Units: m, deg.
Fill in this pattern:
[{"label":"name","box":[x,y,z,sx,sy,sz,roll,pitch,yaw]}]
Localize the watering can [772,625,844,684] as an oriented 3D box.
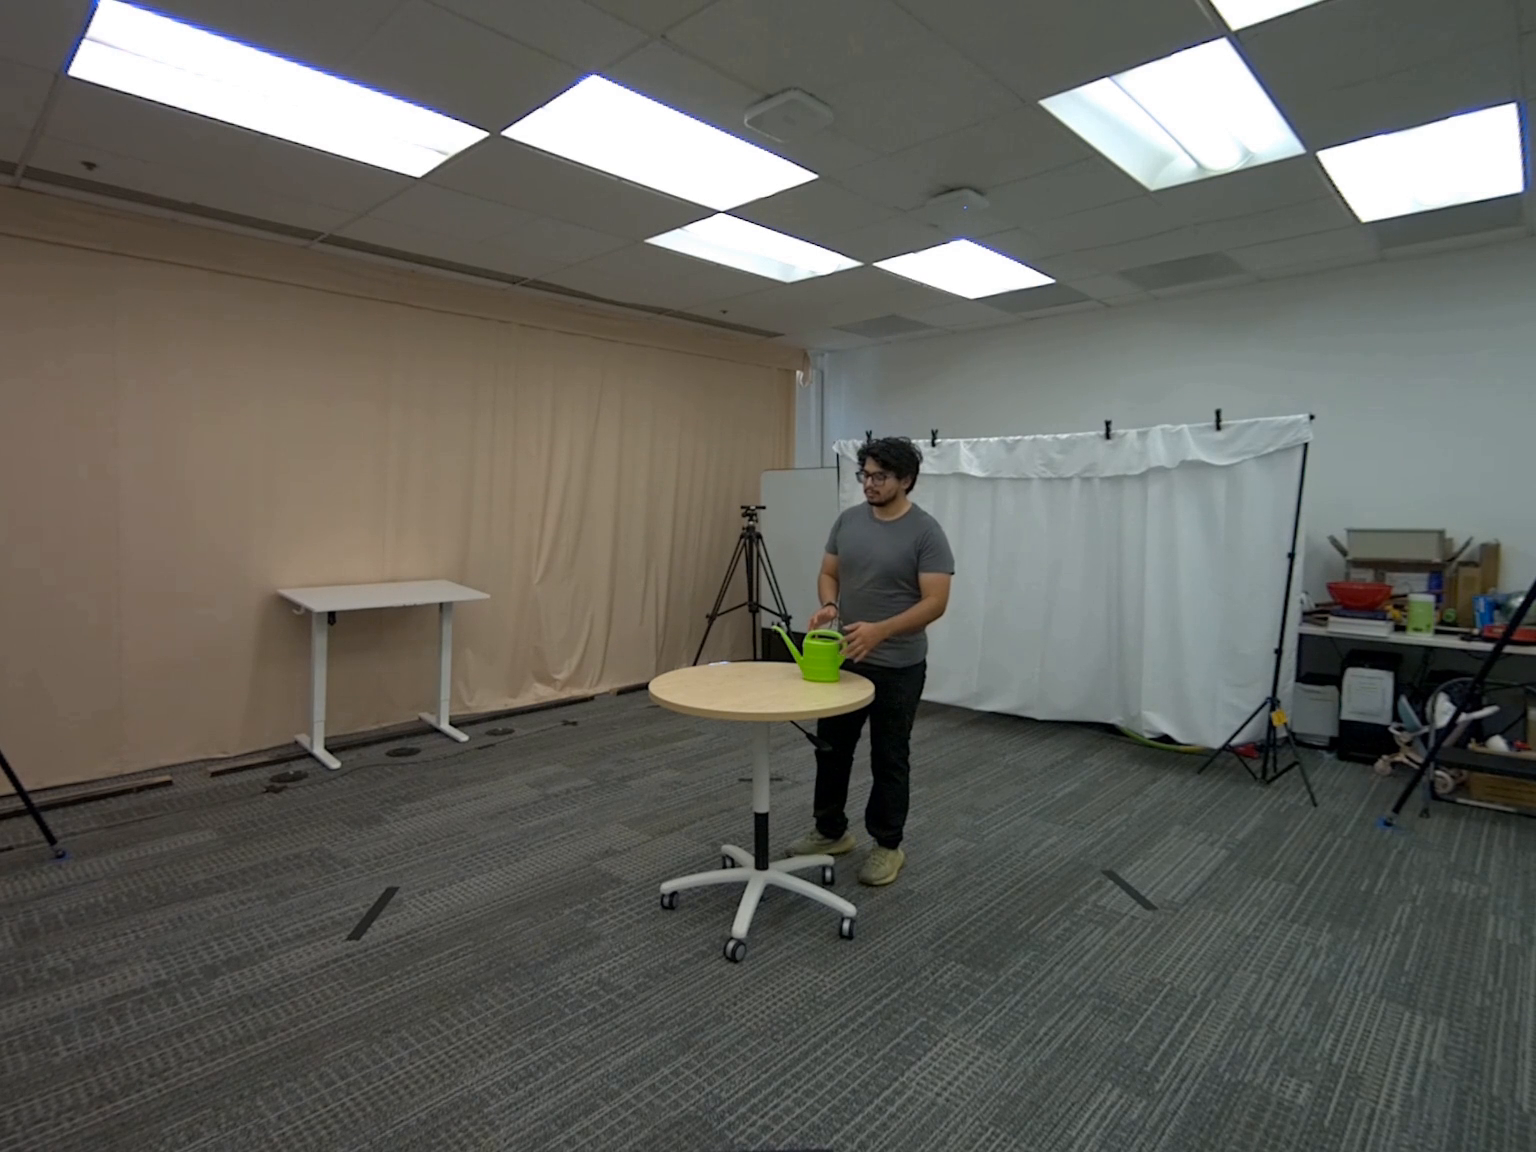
[{"label":"watering can","box":[0.152,0.274,2.964,0.287,0.176,0.095,4,3,34]}]
